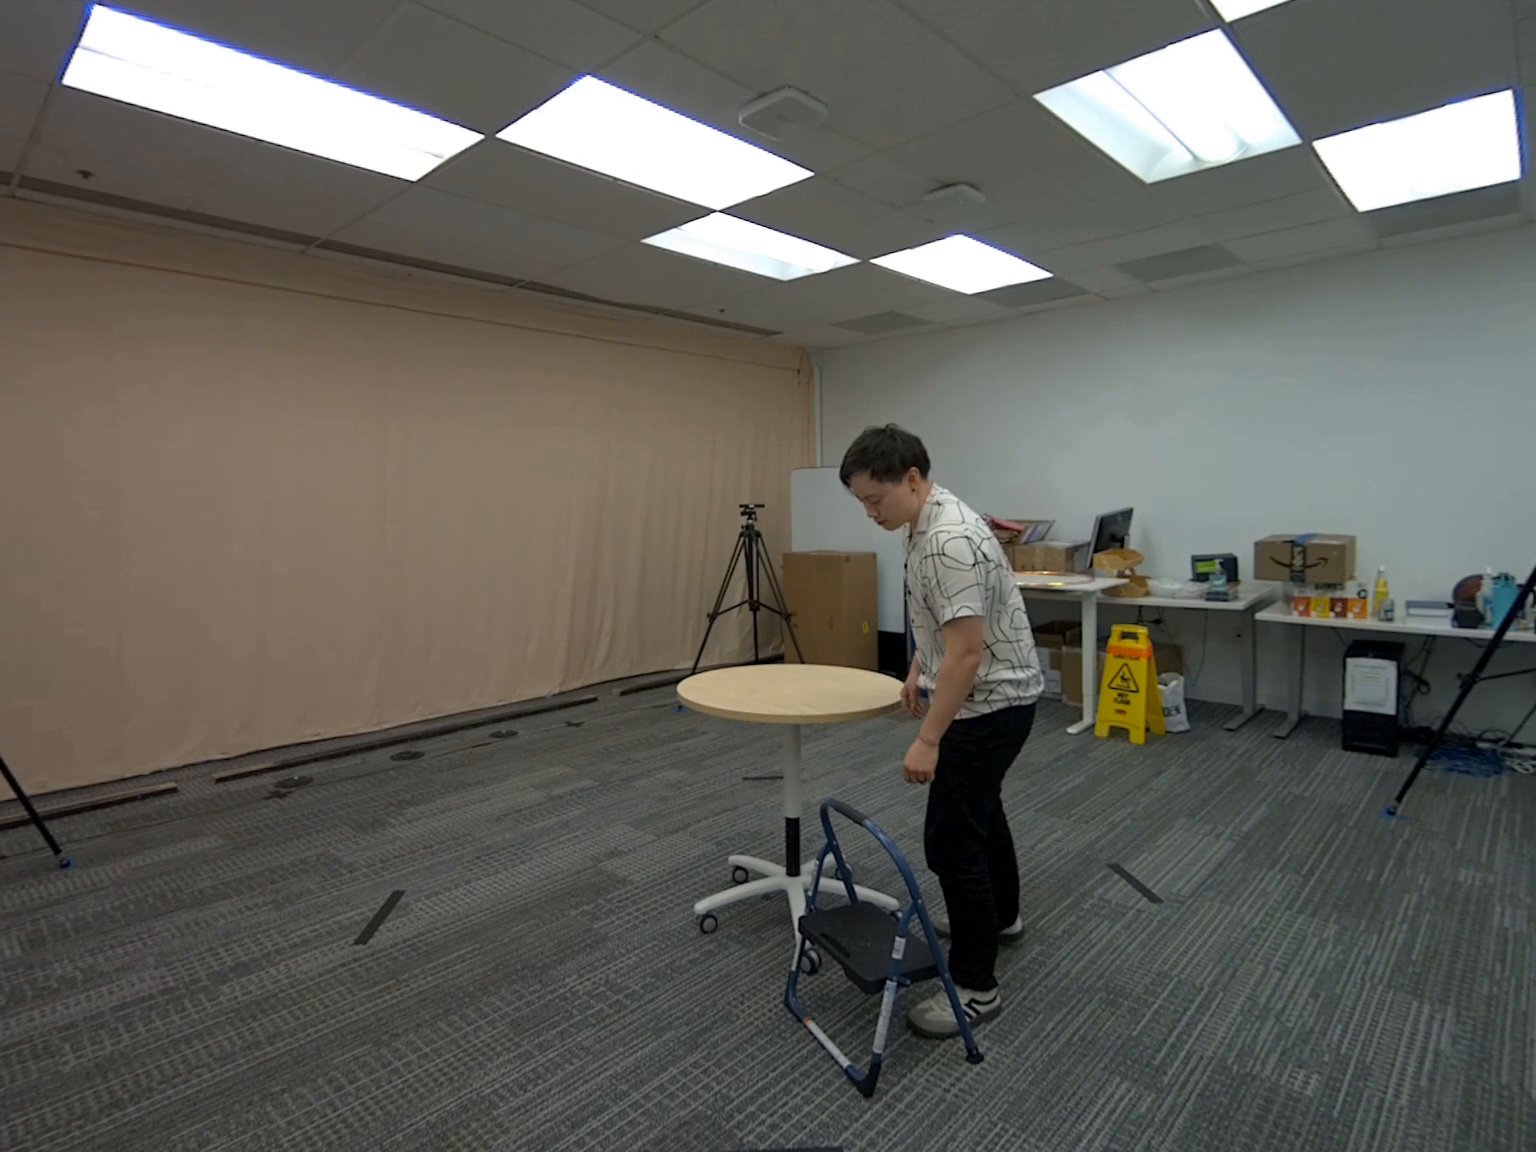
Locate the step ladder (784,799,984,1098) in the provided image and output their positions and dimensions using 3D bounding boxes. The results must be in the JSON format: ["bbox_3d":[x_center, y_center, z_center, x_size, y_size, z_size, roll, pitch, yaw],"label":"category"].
[{"bbox_3d":[0.292,0.900,2.203,0.341,0.604,0.442,-3,4,-27],"label":"step ladder"}]
